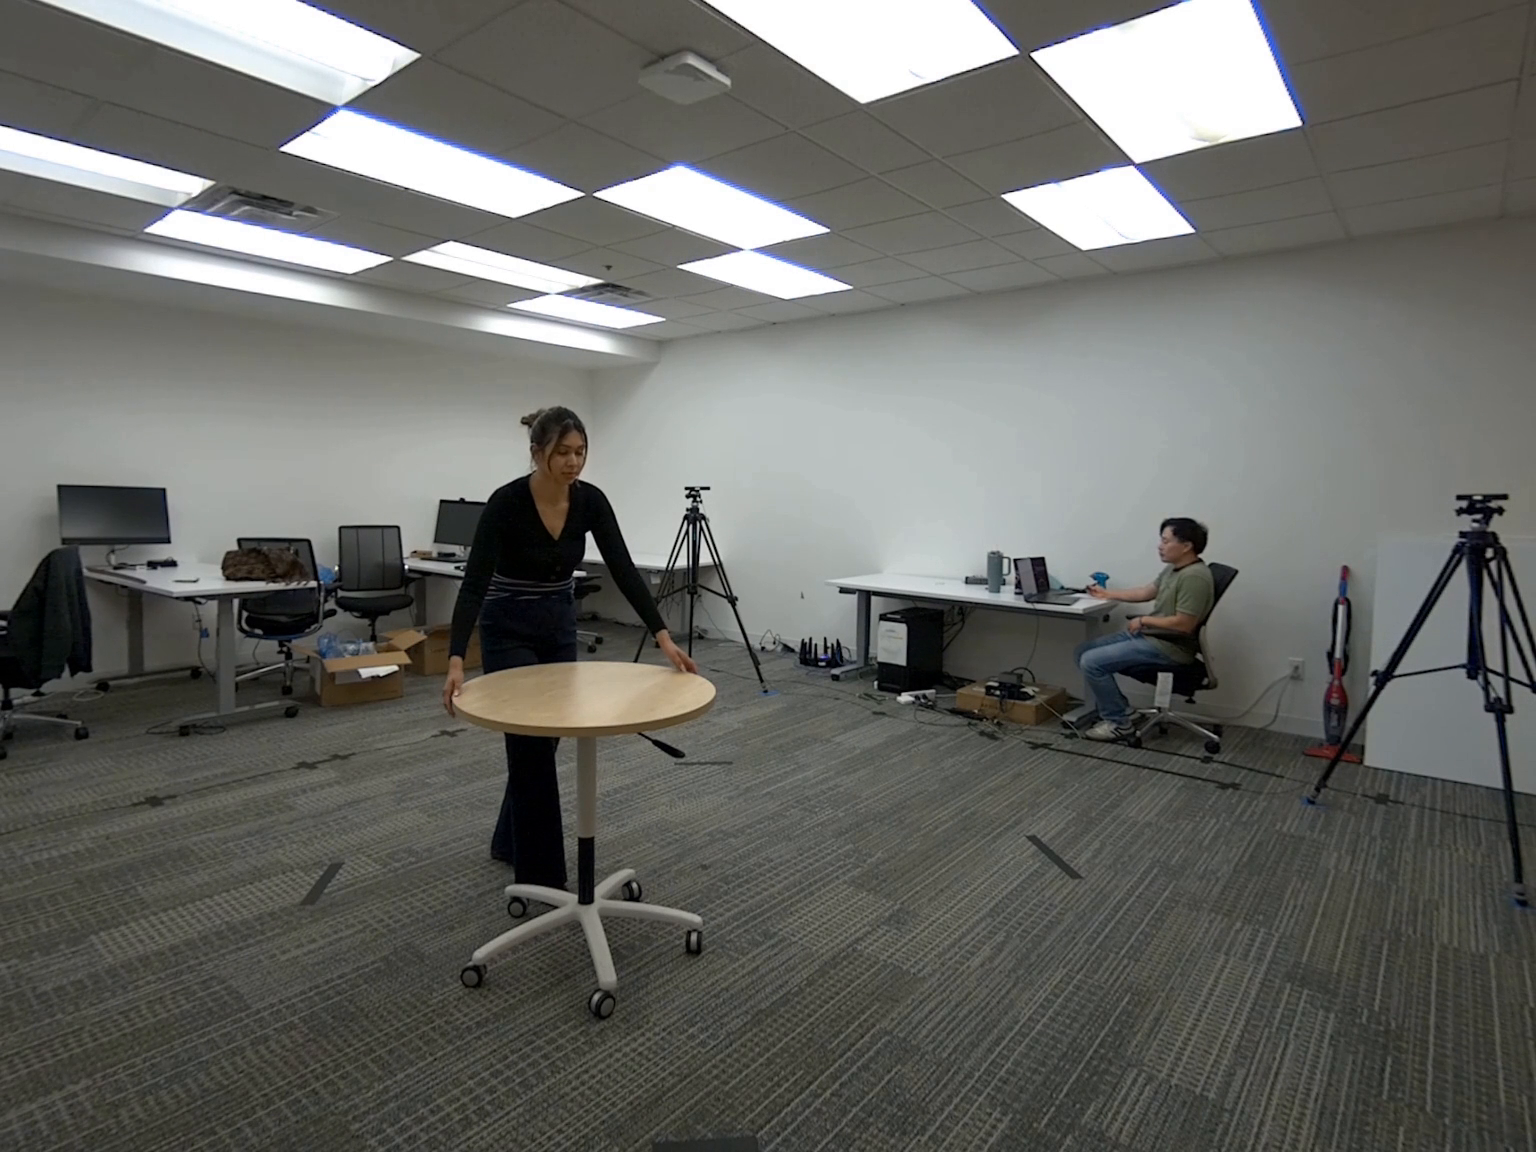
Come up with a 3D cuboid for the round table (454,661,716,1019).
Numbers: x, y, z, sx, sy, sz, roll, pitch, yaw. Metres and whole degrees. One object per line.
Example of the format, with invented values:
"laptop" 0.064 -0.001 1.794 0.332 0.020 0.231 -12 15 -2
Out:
"round table" -0.553 0.728 2.543 0.763 0.791 0.768 1 5 -2
